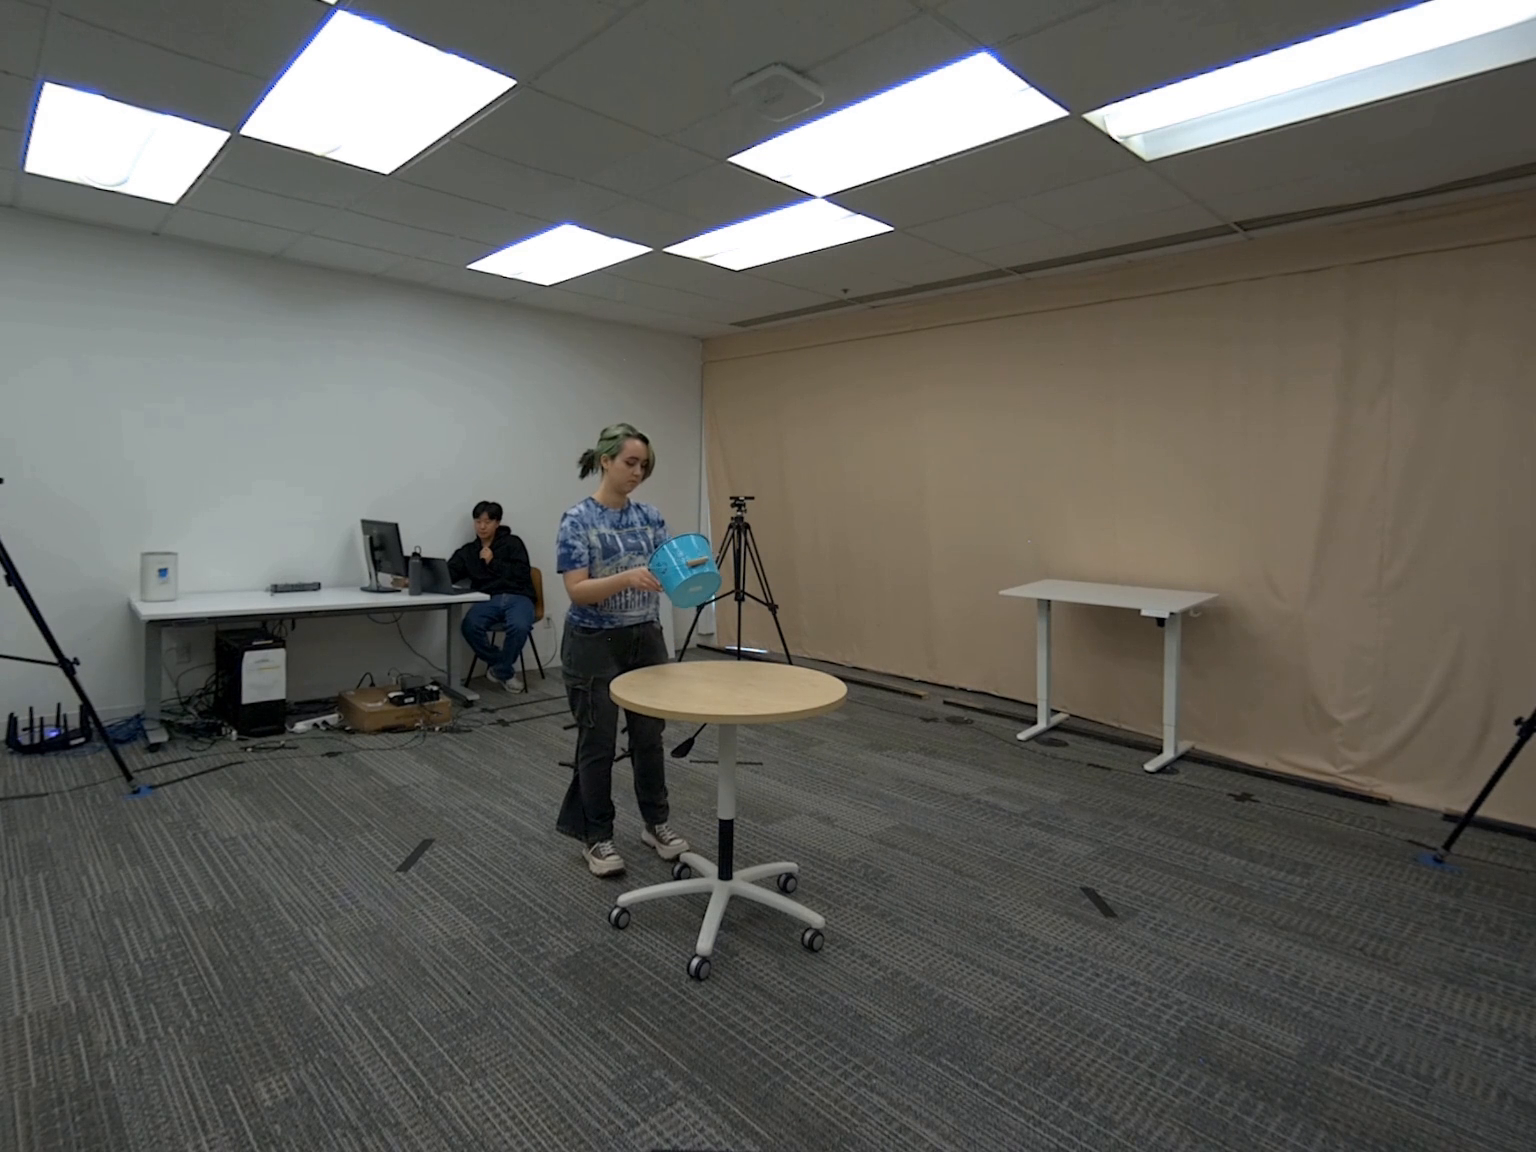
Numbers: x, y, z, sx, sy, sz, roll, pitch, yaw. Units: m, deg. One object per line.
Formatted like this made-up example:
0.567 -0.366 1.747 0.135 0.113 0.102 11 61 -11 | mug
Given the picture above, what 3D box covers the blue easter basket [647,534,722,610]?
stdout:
-0.277 -0.011 2.805 0.238 0.242 0.160 -2 48 -36 | blue easter basket
